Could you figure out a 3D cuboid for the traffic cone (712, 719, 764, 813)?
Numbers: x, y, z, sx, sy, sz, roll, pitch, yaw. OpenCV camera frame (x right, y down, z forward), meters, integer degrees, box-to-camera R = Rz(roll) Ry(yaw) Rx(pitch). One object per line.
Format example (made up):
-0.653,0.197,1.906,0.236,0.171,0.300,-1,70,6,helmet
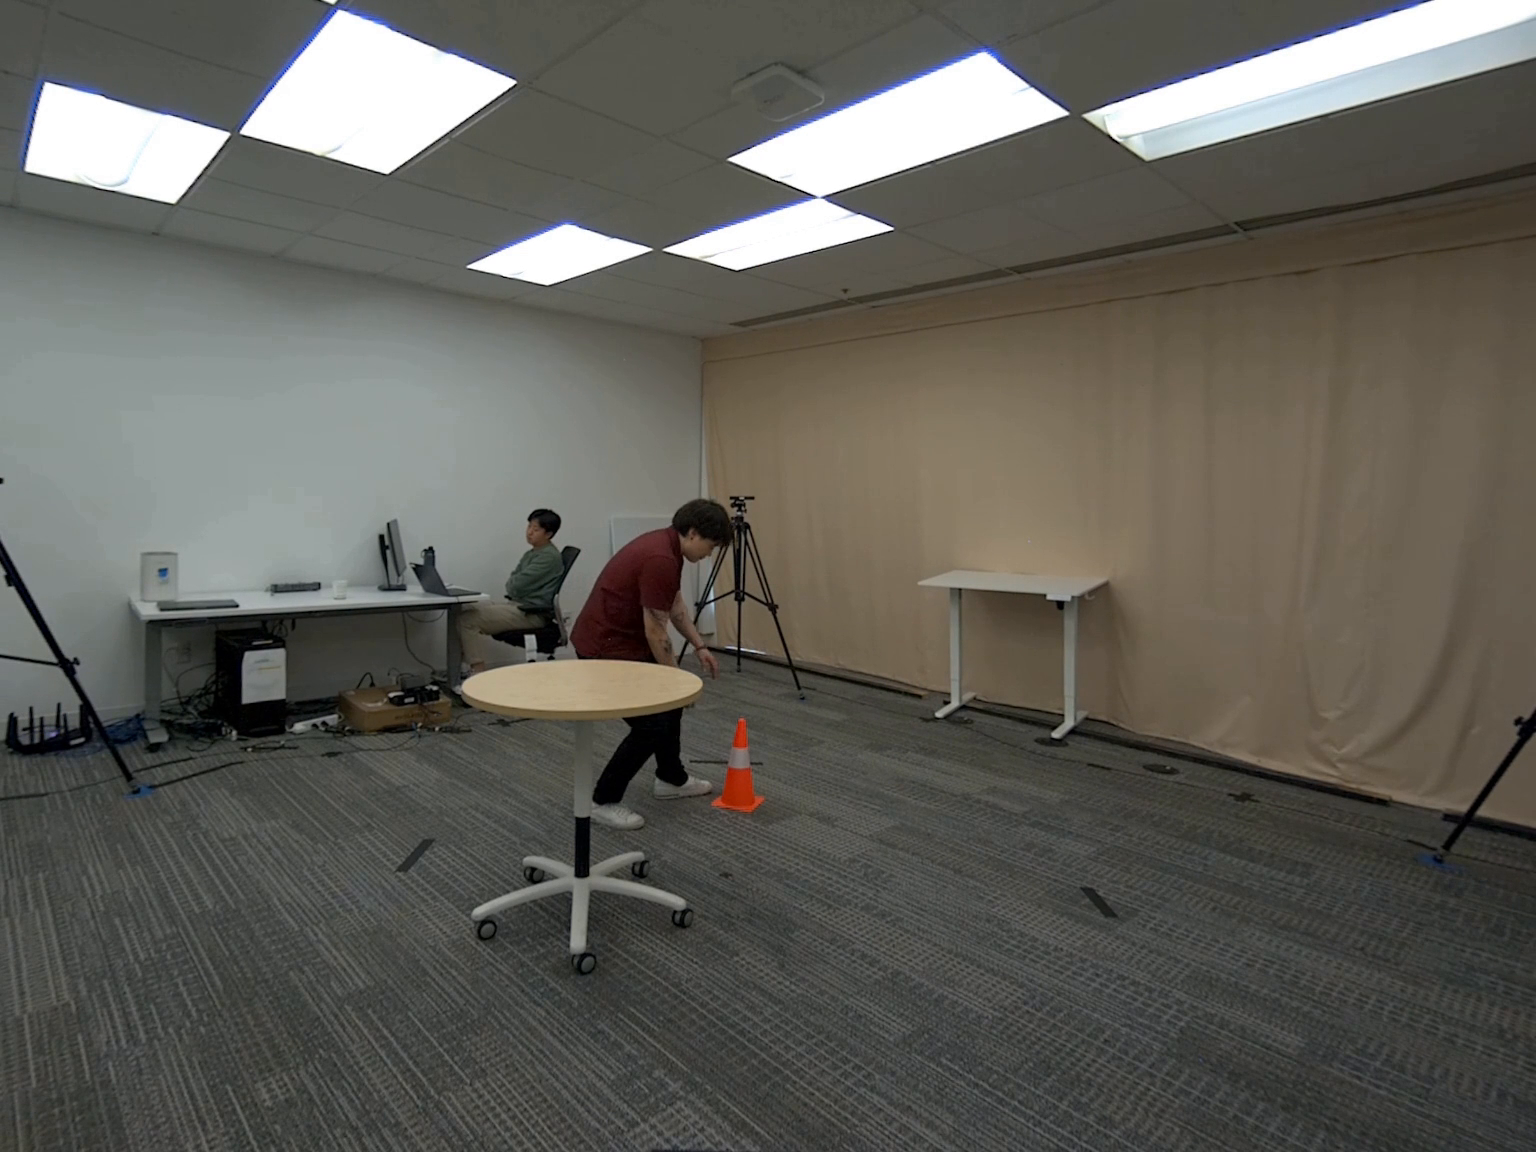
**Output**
-0.147,0.852,3.870,0.208,0.383,0.200,4,2,20,traffic cone
